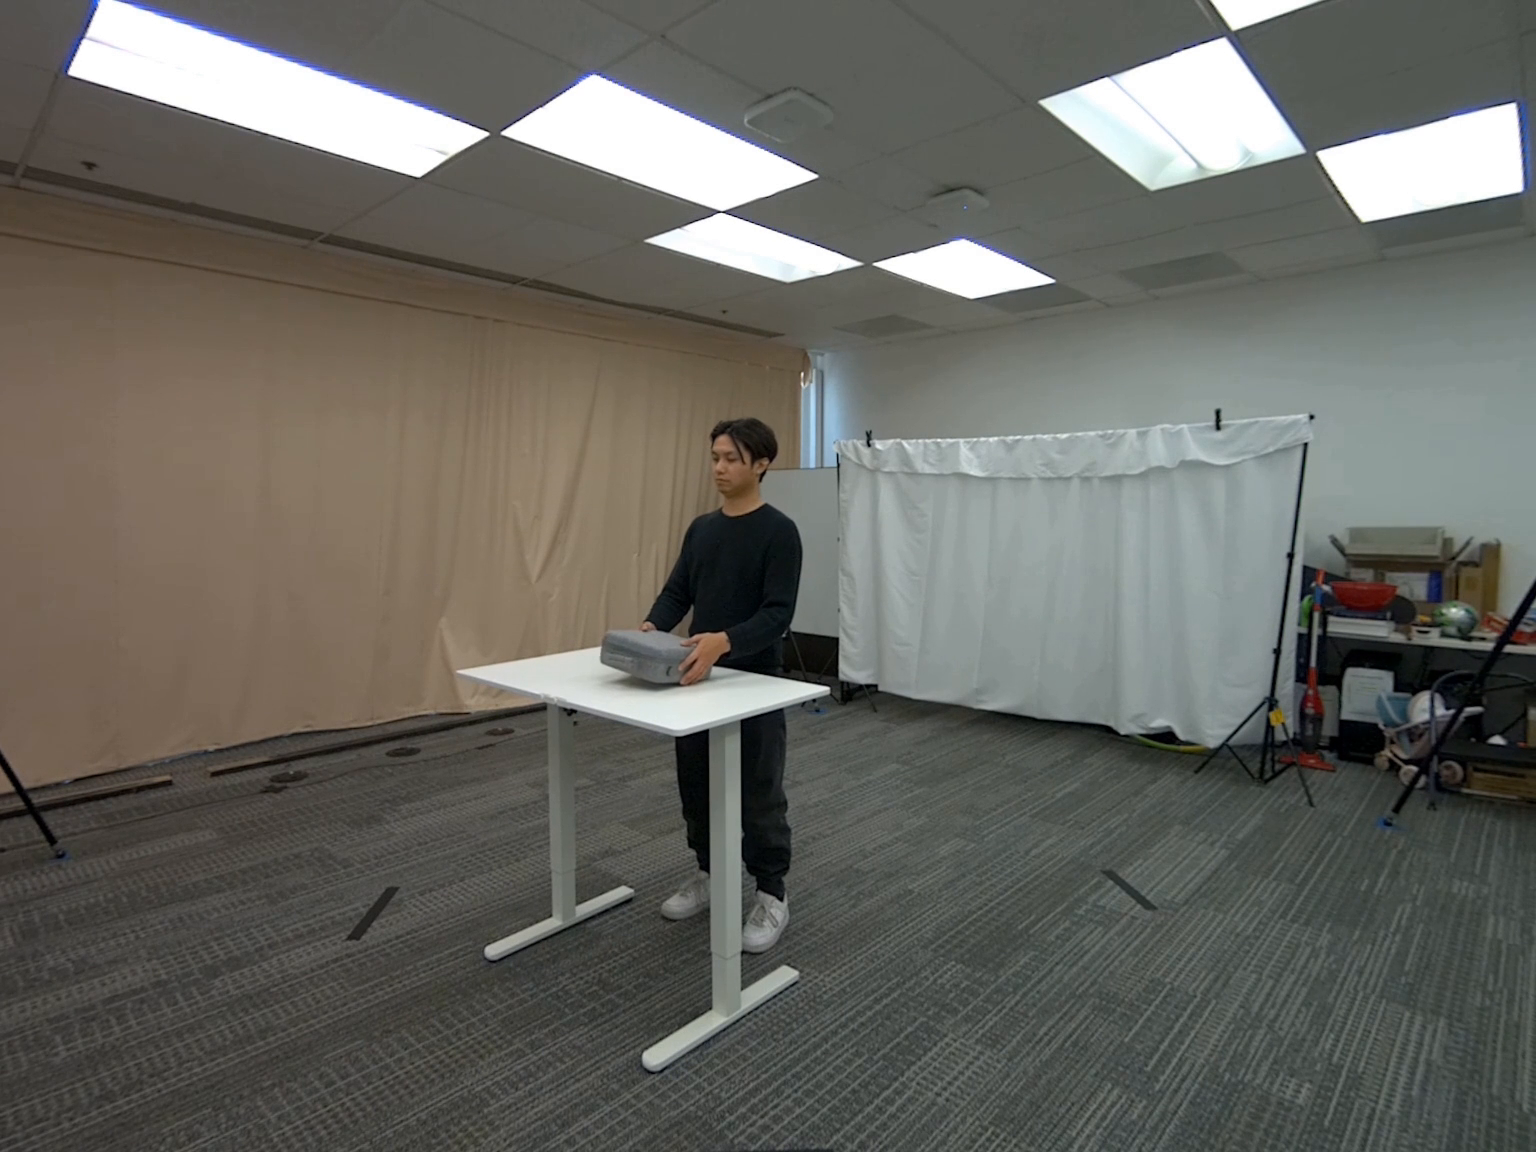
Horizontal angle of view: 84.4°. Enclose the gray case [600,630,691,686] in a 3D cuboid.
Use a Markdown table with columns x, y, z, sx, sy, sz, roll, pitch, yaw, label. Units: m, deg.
| x | y | z | sx | sy | sz | roll | pitch | yaw | label |
| --- | --- | --- | --- | --- | --- | --- | --- | --- | --- |
| -0.322 | 0.237 | 2.458 | 0.266 | 0.104 | 0.252 | 11 | 5 | 38 | gray case |
